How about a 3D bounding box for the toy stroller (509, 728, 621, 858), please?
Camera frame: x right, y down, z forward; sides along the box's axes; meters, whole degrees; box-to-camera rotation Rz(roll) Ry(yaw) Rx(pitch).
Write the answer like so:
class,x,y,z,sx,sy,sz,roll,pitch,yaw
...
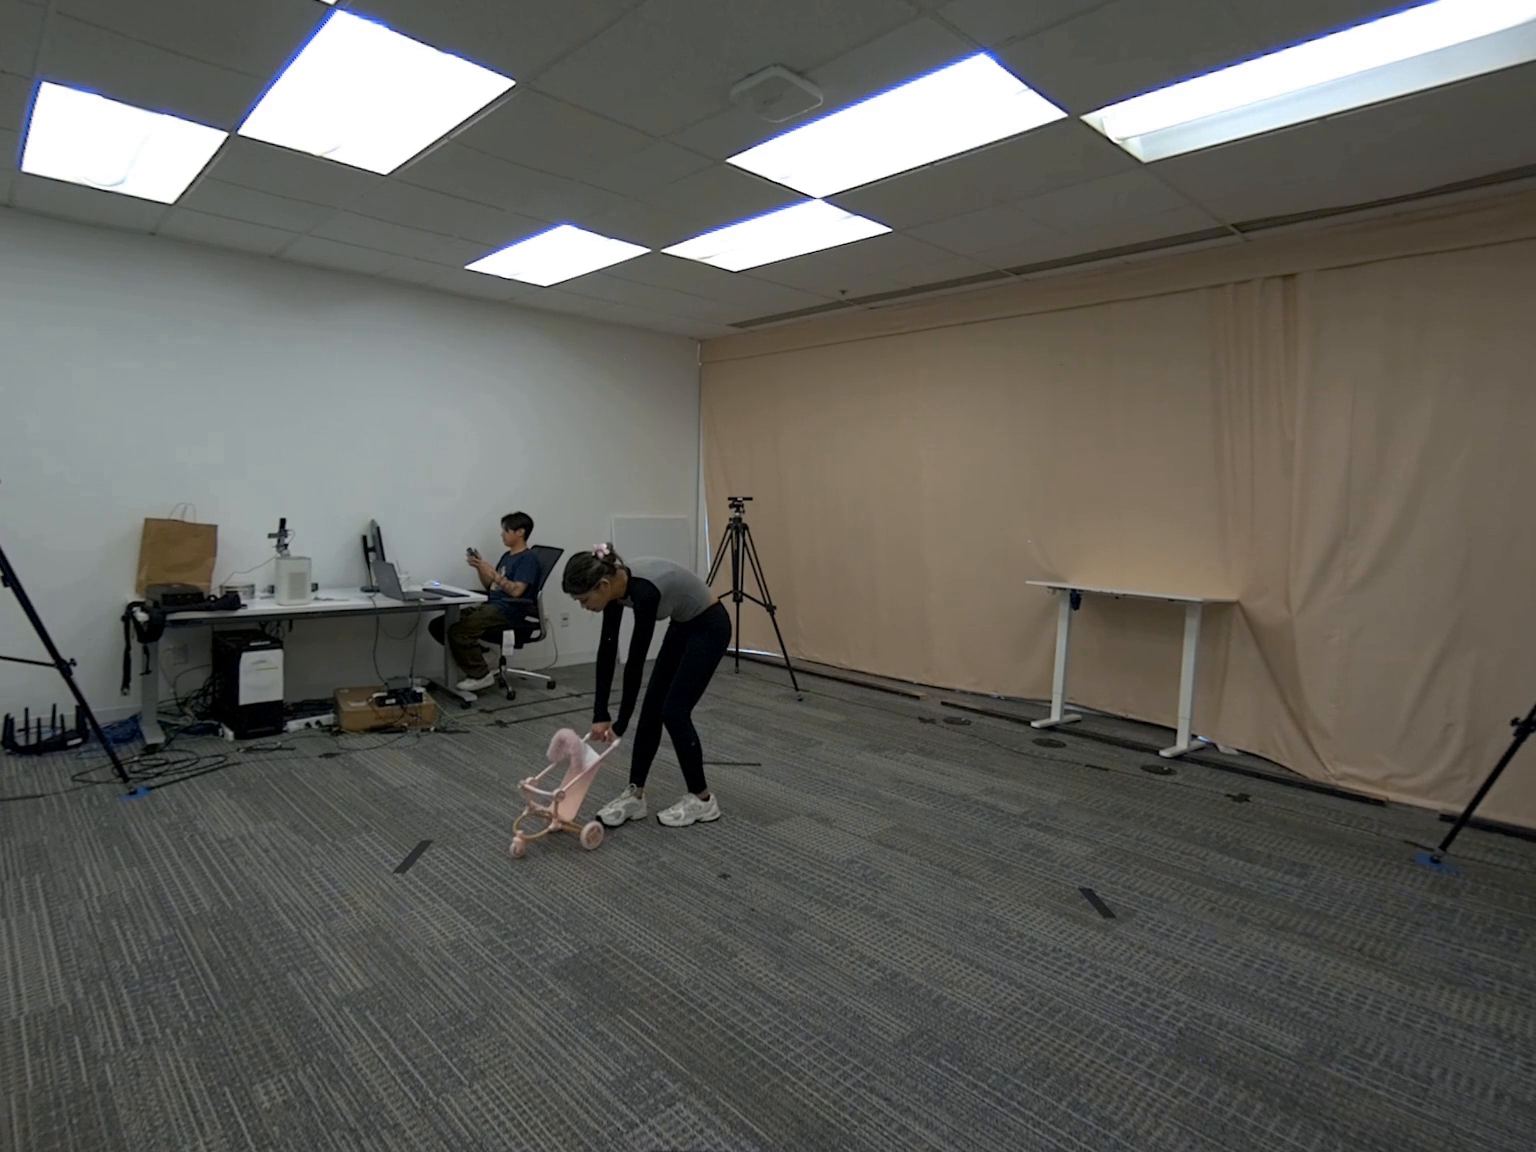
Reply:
class,x,y,z,sx,sy,sz,roll,pitch,yaw
toy stroller,-0.830,0.848,3.347,0.331,0.537,0.288,21,-12,-41
